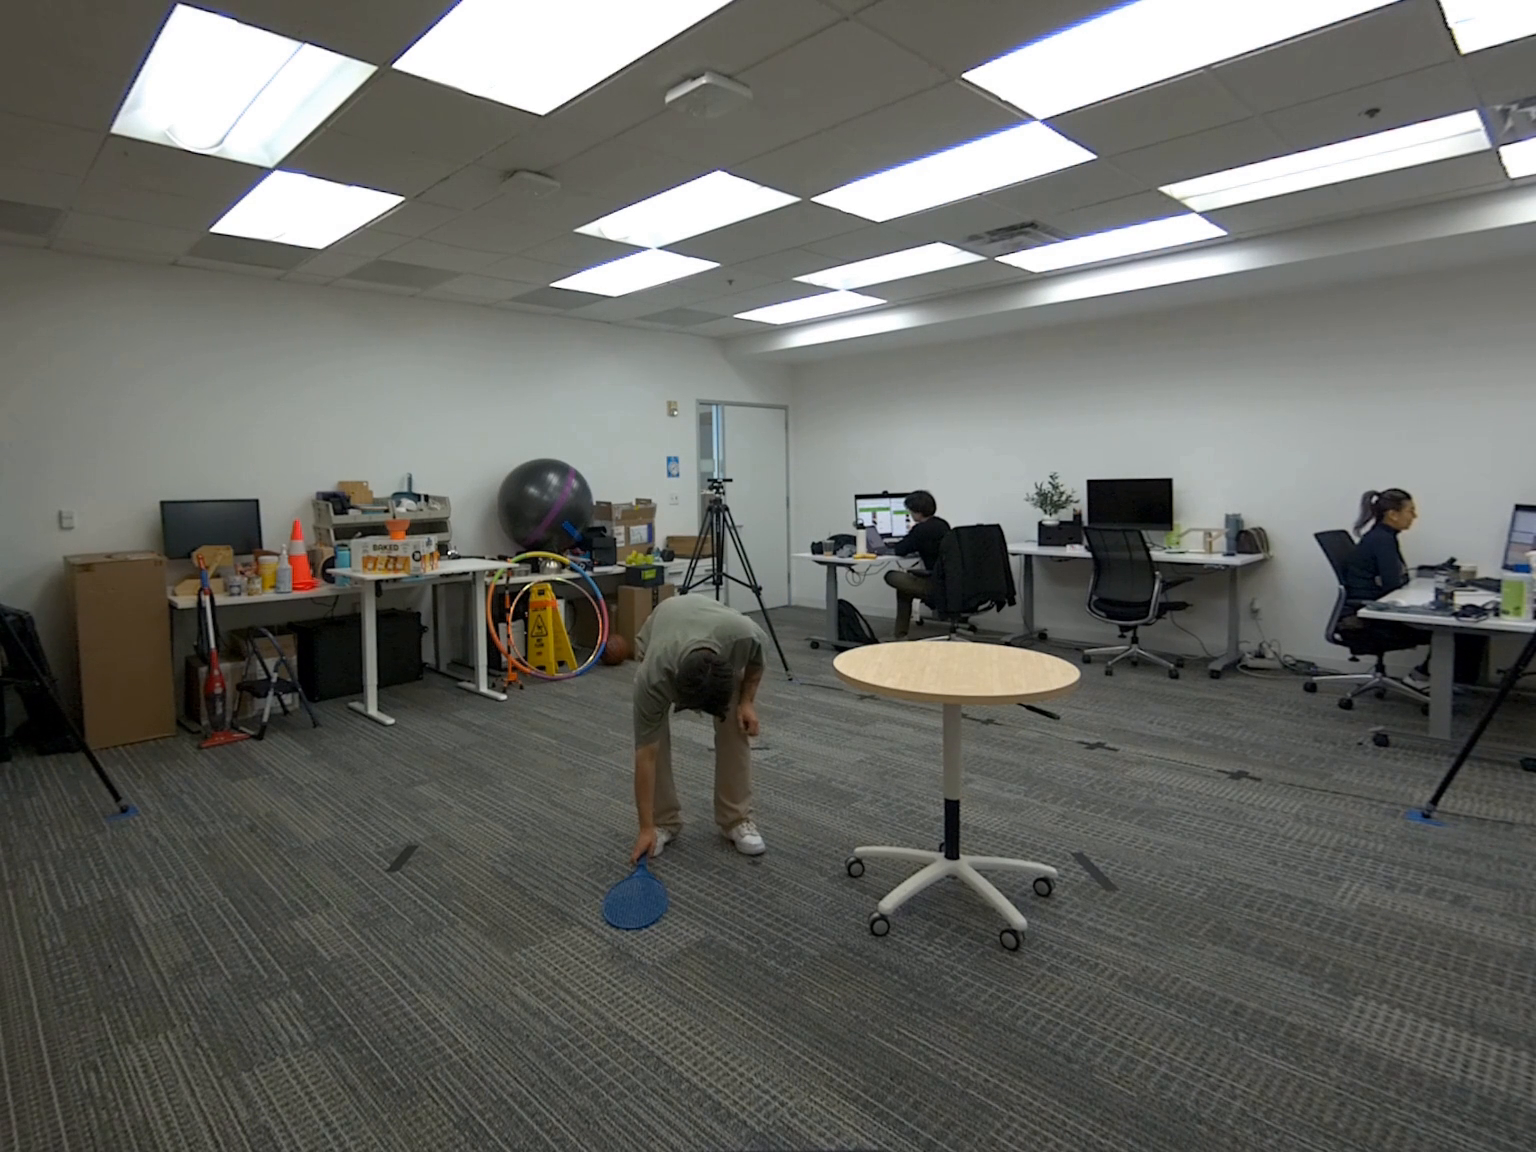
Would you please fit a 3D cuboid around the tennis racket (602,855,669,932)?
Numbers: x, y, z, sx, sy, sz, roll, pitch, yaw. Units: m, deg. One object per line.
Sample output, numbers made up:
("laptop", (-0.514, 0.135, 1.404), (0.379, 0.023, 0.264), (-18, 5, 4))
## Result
("tennis racket", (-0.438, 1.044, 2.869), (0.214, 0.031, 0.438), (-3, 15, -1))
